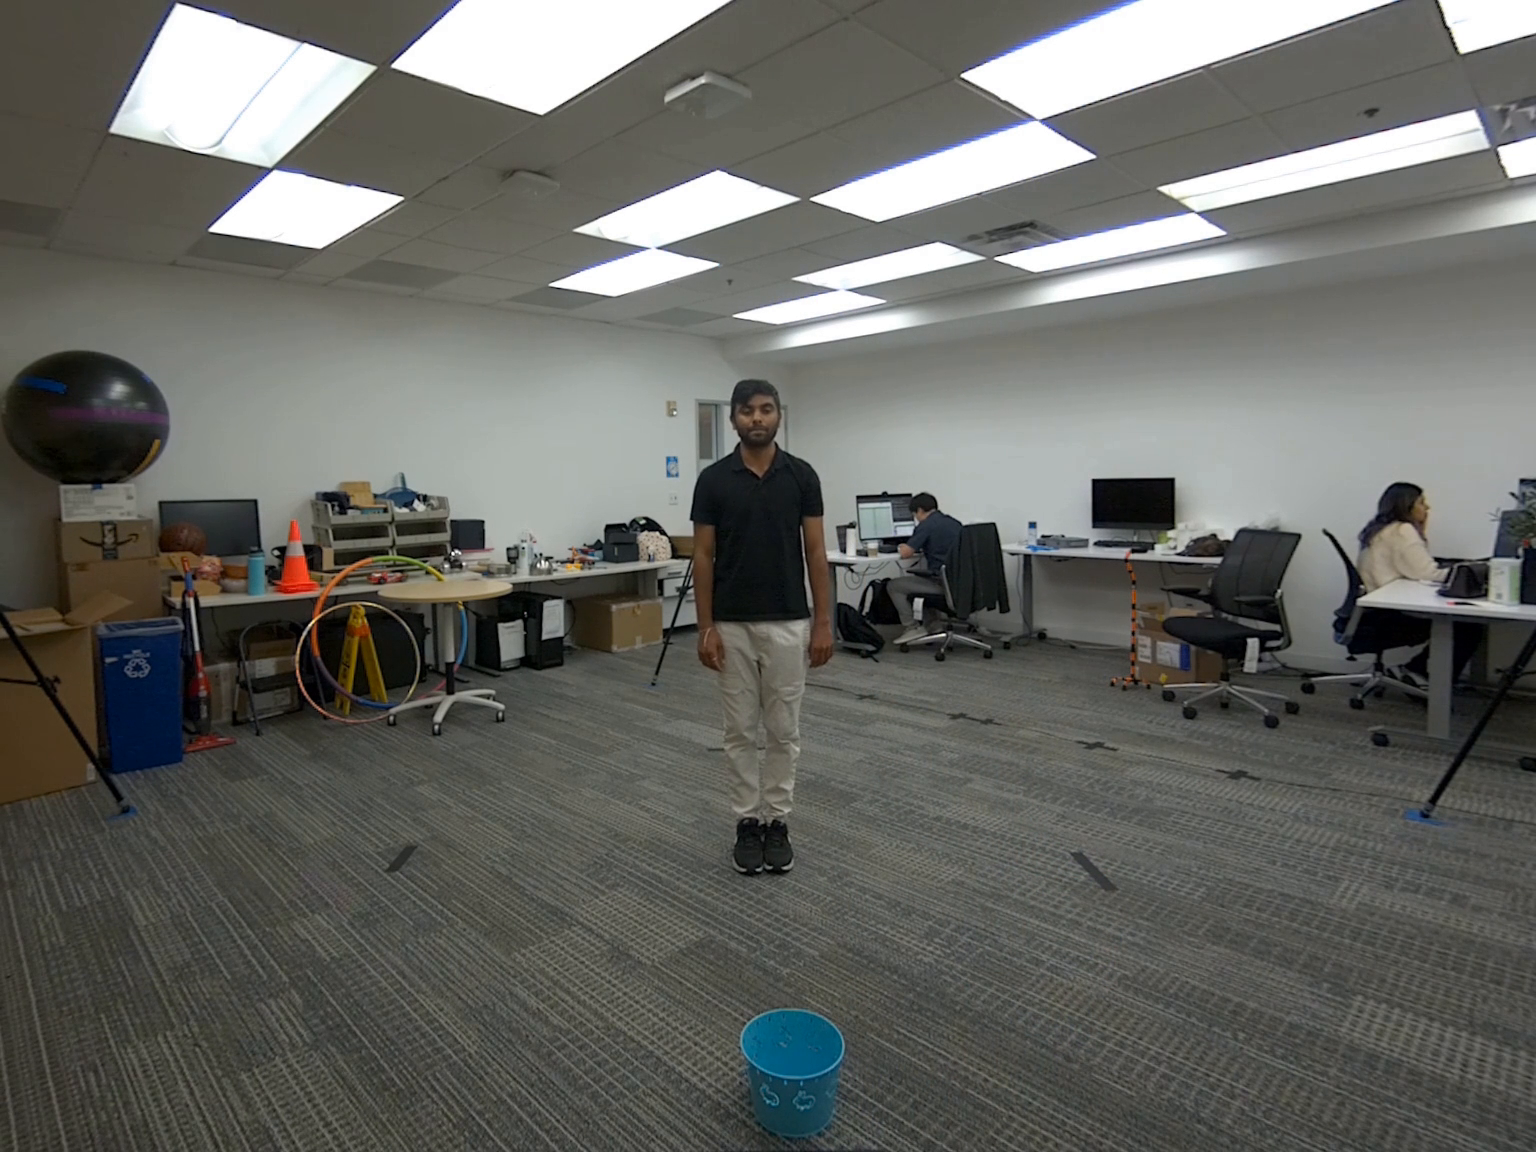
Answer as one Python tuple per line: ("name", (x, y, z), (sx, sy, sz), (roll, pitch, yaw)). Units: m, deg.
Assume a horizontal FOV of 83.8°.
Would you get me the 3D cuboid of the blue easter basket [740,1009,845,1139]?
("blue easter basket", (0.062, 1.109, 1.905), (0.243, 0.155, 0.245), (-1, 5, -2))
